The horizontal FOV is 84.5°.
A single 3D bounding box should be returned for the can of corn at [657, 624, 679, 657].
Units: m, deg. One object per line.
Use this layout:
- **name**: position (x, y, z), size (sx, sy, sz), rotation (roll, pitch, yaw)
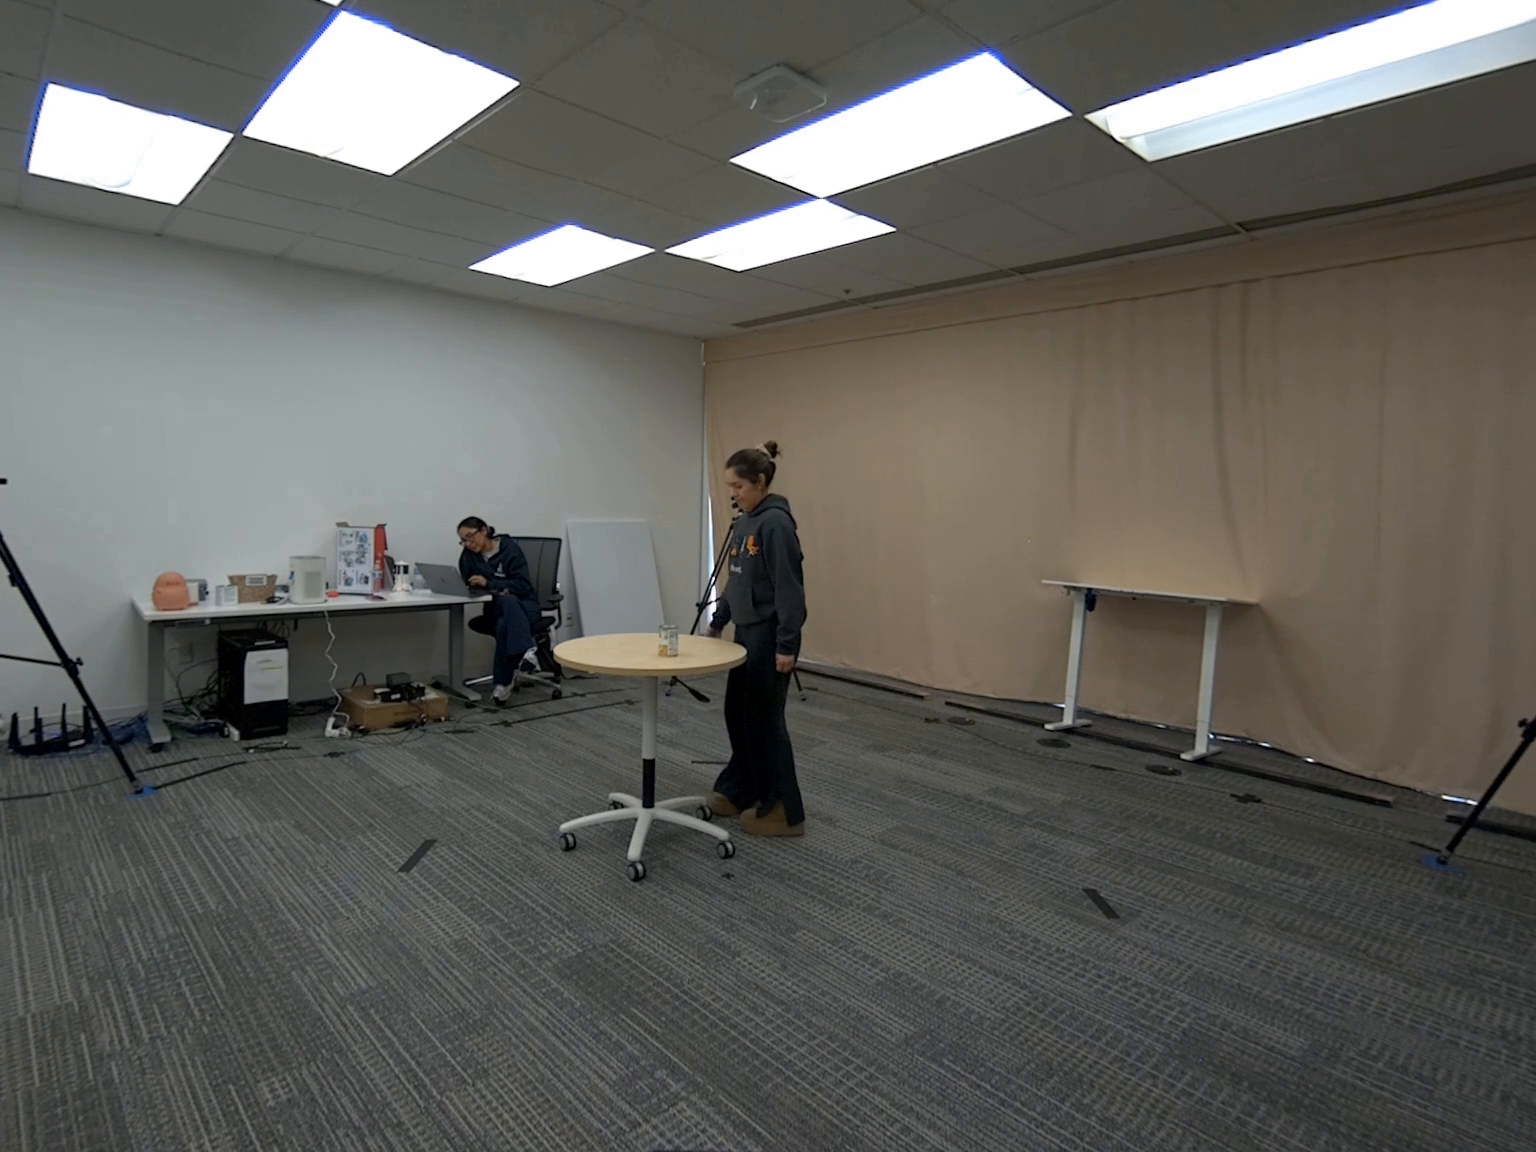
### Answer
- **can of corn**: position (-0.396, 0.252, 3.244), size (0.074, 0.111, 0.074), rotation (2, 3, -1)
